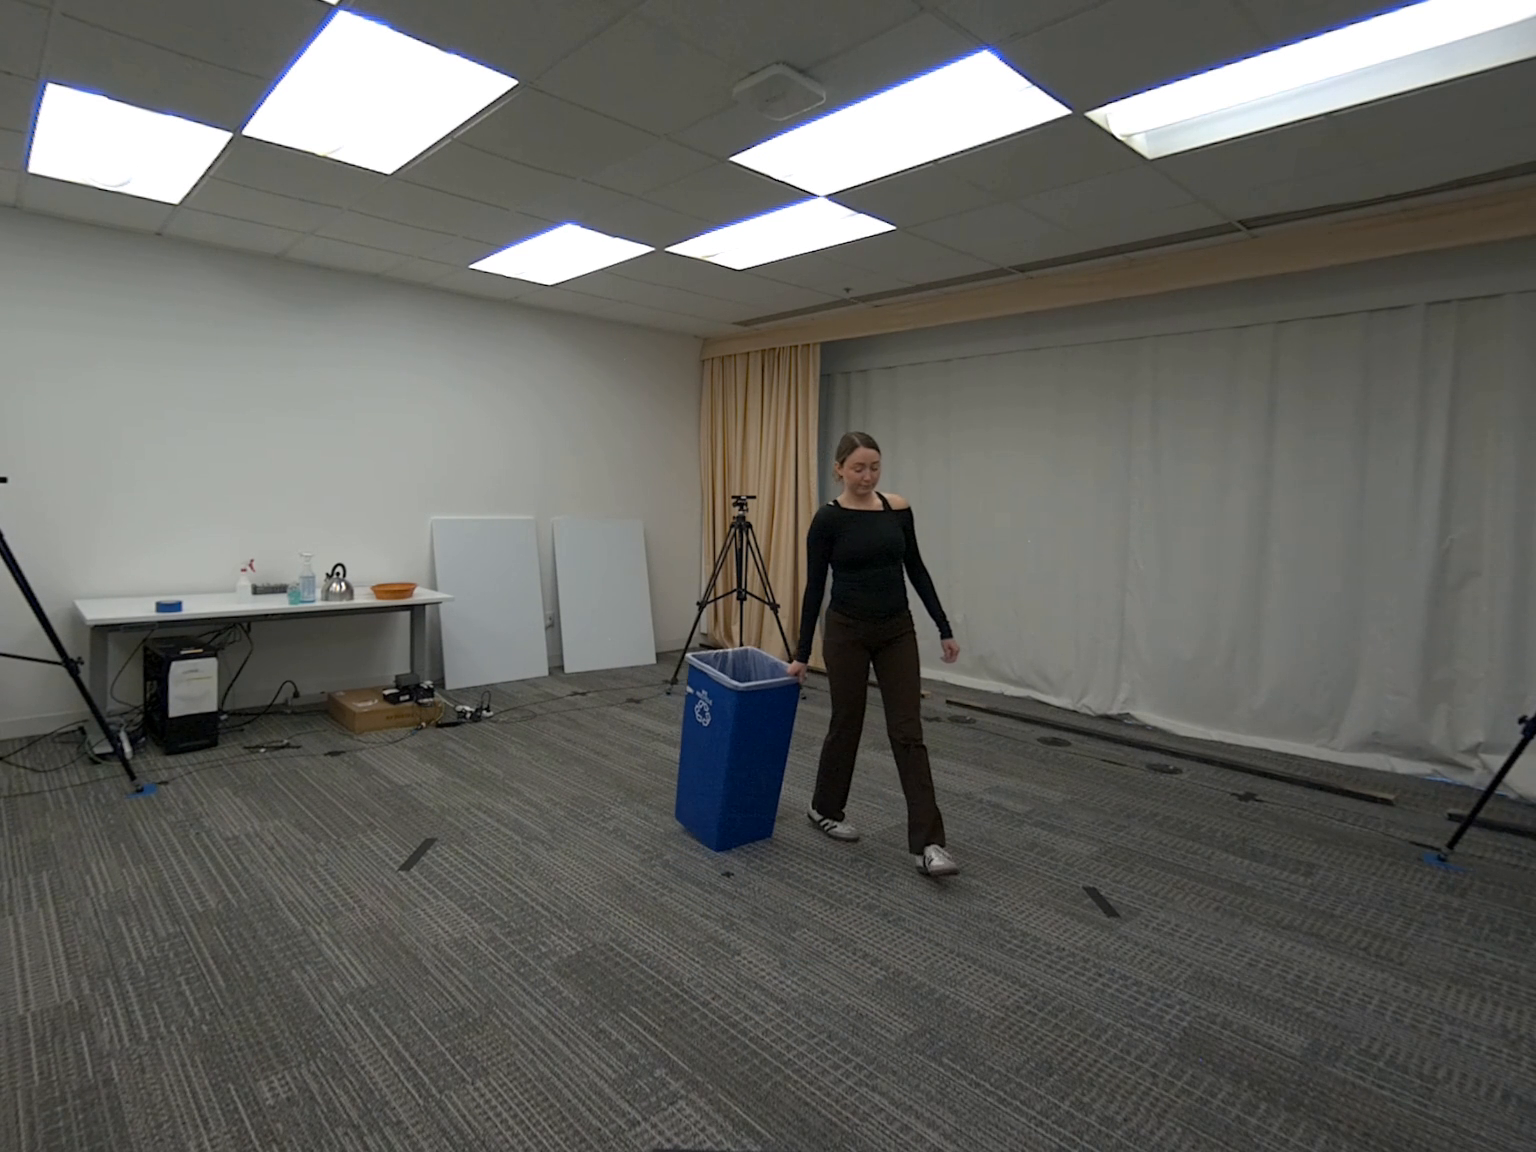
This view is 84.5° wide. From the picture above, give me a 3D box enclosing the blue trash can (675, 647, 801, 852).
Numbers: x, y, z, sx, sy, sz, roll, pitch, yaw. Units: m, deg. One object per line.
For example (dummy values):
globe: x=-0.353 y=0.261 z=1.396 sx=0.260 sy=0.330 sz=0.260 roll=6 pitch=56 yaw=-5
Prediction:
blue trash can: x=-0.135 y=0.697 z=3.416 sx=0.369 sy=0.709 sz=0.385 roll=-2 pitch=14 yaw=-39
